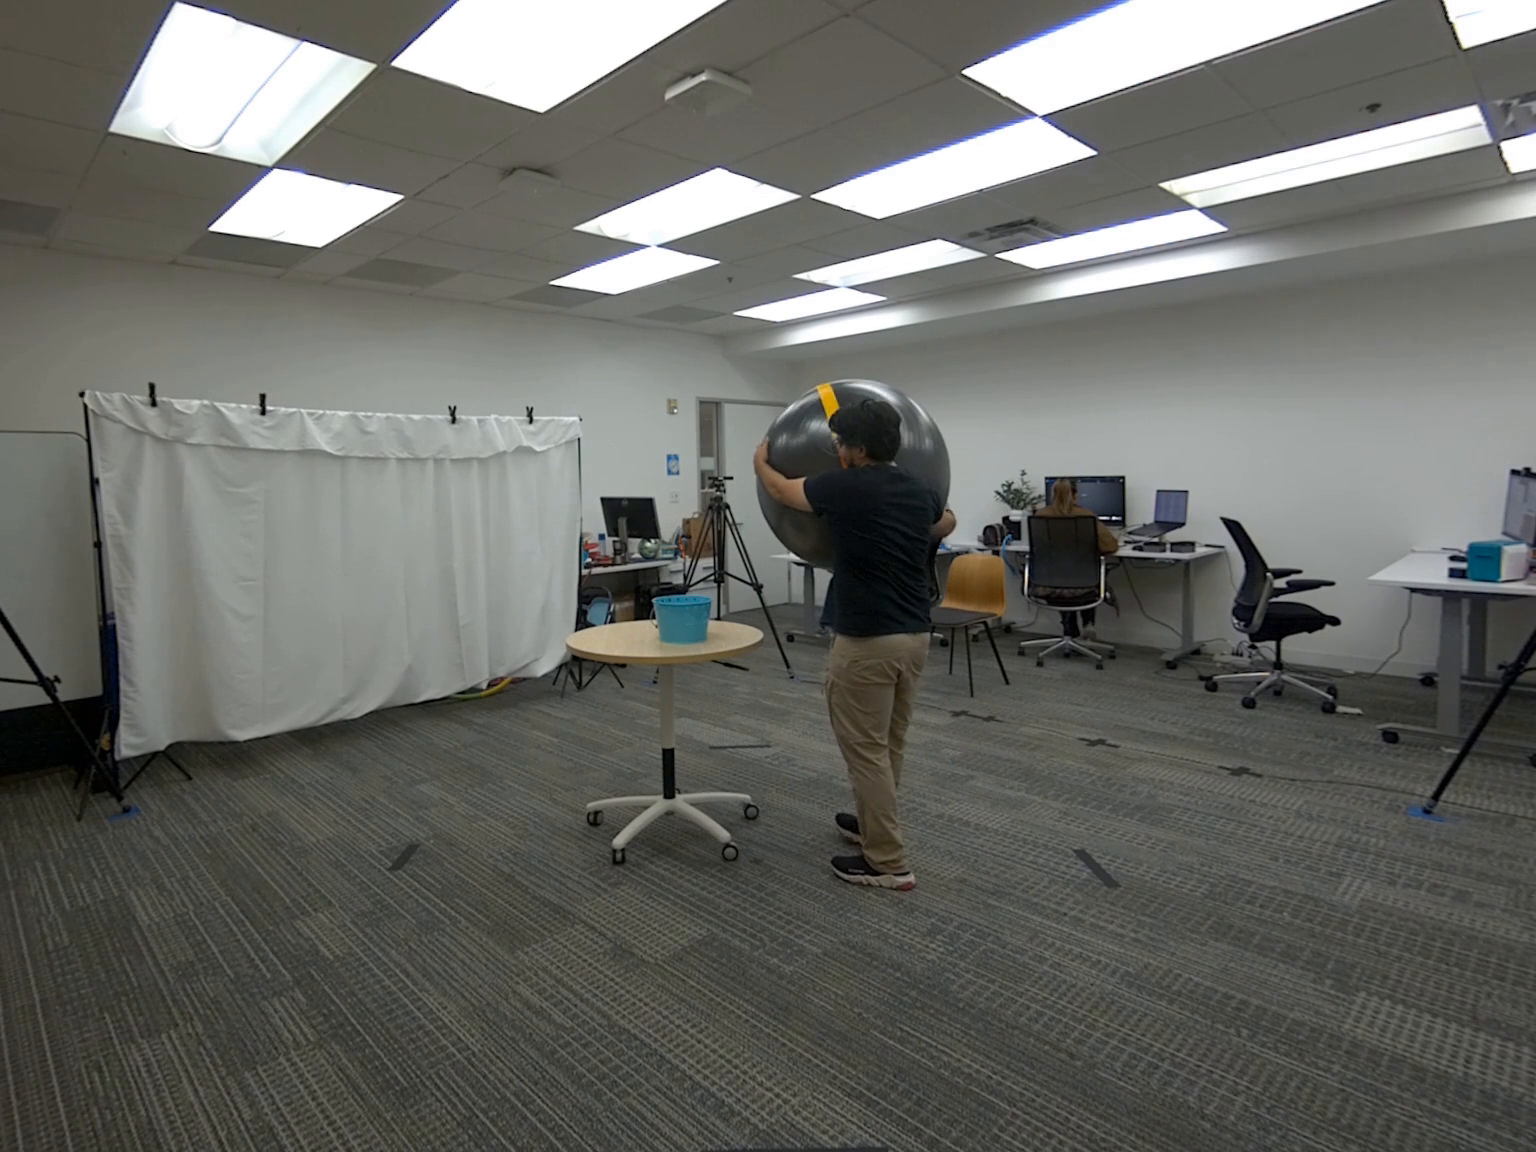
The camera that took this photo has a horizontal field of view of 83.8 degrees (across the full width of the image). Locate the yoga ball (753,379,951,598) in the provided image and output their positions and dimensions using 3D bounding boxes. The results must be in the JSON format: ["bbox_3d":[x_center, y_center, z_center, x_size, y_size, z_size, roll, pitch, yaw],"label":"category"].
[{"bbox_3d":[0.328,-0.379,3.377,0.757,0.755,0.762,-1,5,-2],"label":"yoga ball"}]
